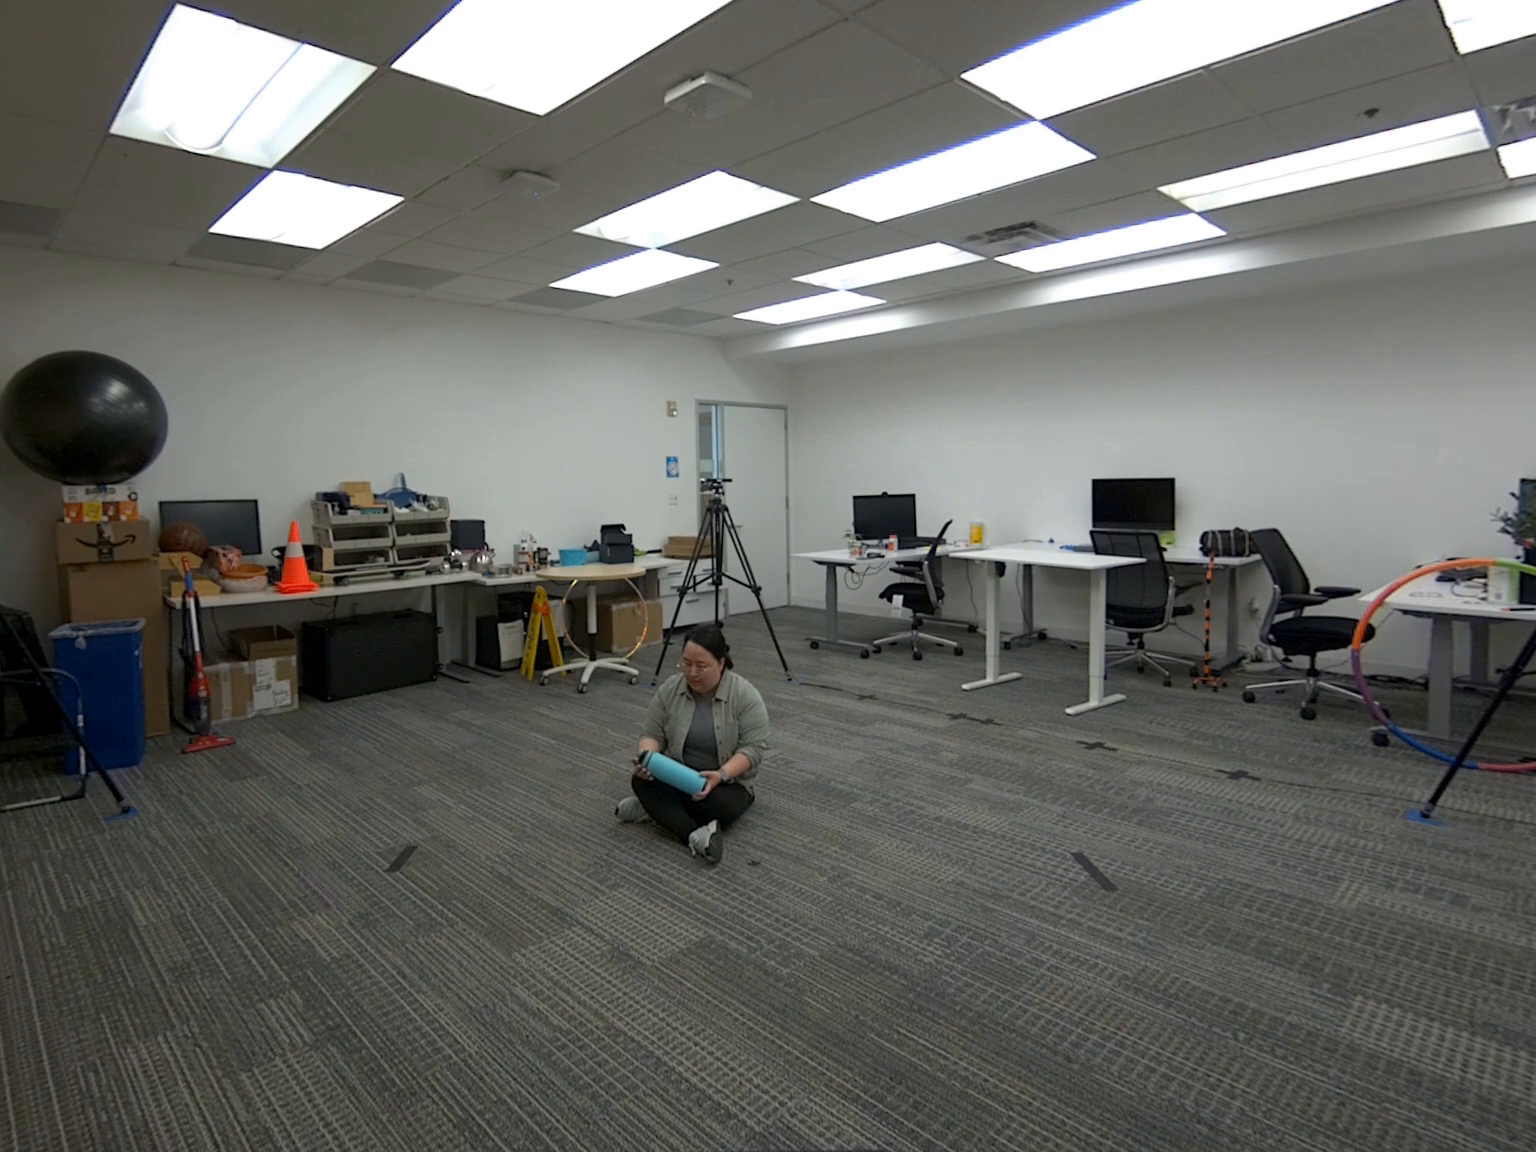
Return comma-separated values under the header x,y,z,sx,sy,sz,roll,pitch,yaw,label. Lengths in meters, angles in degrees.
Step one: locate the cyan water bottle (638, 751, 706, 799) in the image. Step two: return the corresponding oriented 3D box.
x,y,z,sx,sy,sz,roll,pitch,yaw,label
-0.388,0.768,3.336,0.285,0.092,0.092,26,7,4,cyan water bottle
